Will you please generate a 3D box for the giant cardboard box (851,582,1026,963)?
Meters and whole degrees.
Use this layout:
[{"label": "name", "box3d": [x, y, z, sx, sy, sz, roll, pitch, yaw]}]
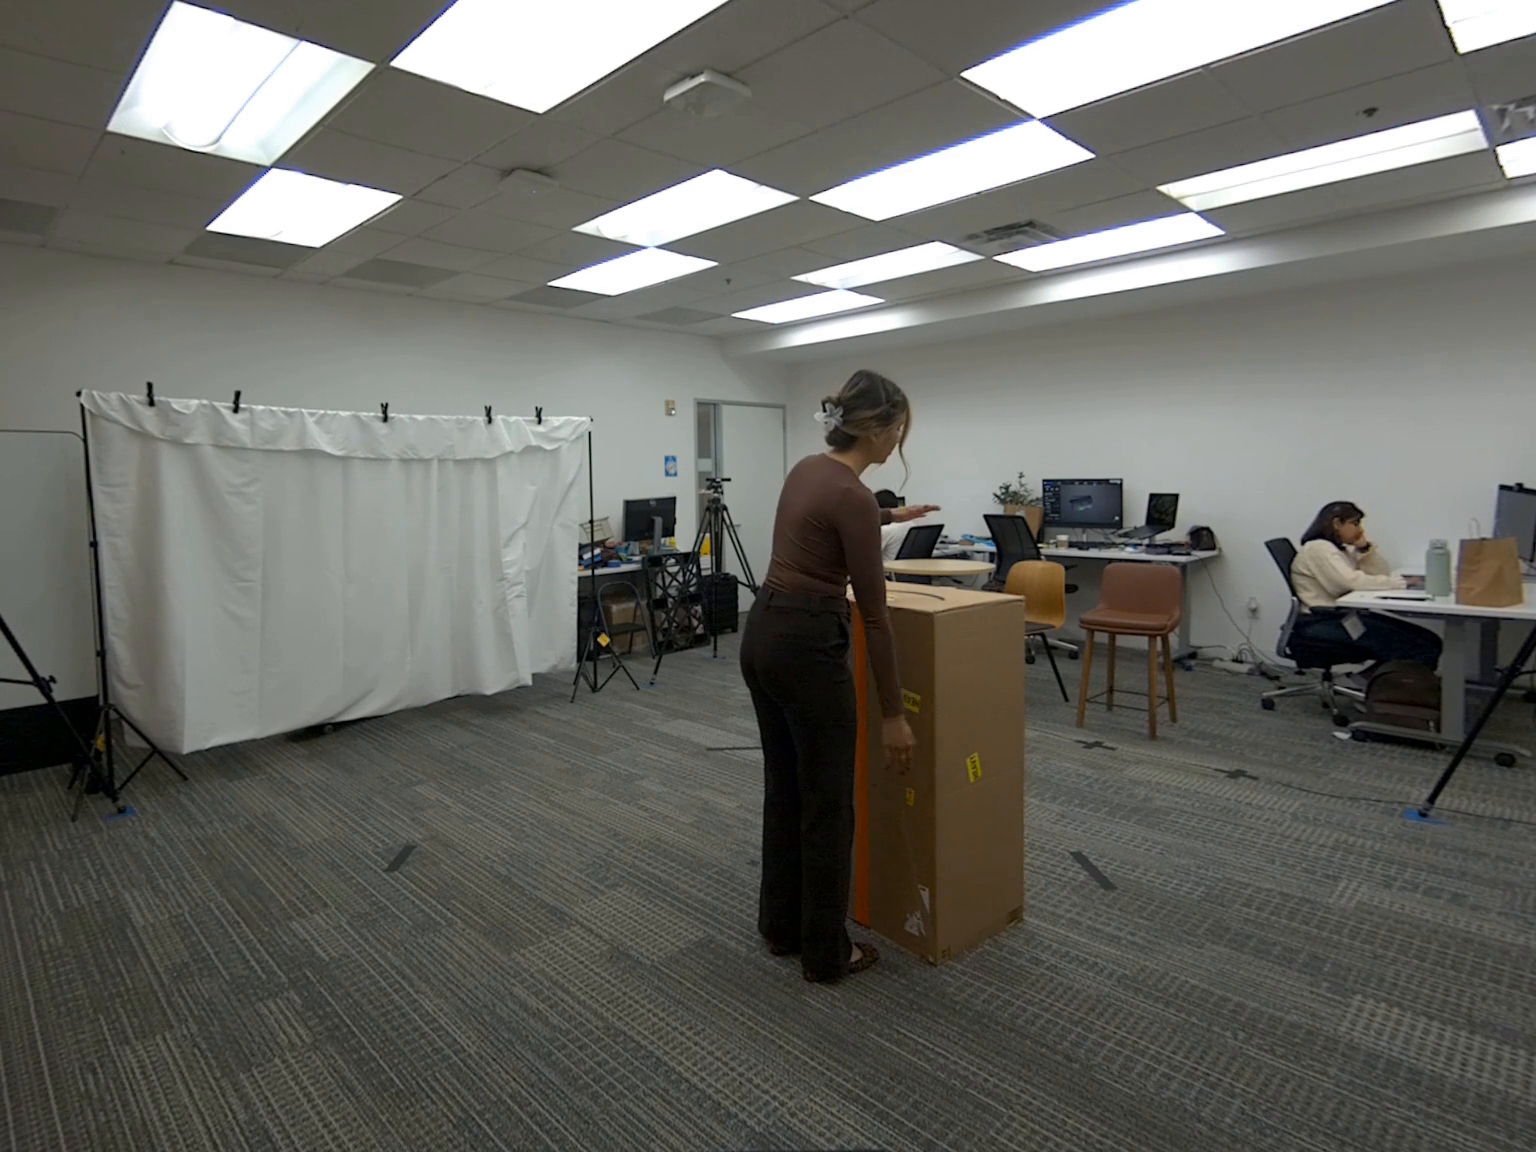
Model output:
[{"label": "giant cardboard box", "box3d": [0.453, 0.564, 2.751, 0.435, 1.023, 0.601, -5, 6, -37]}]
